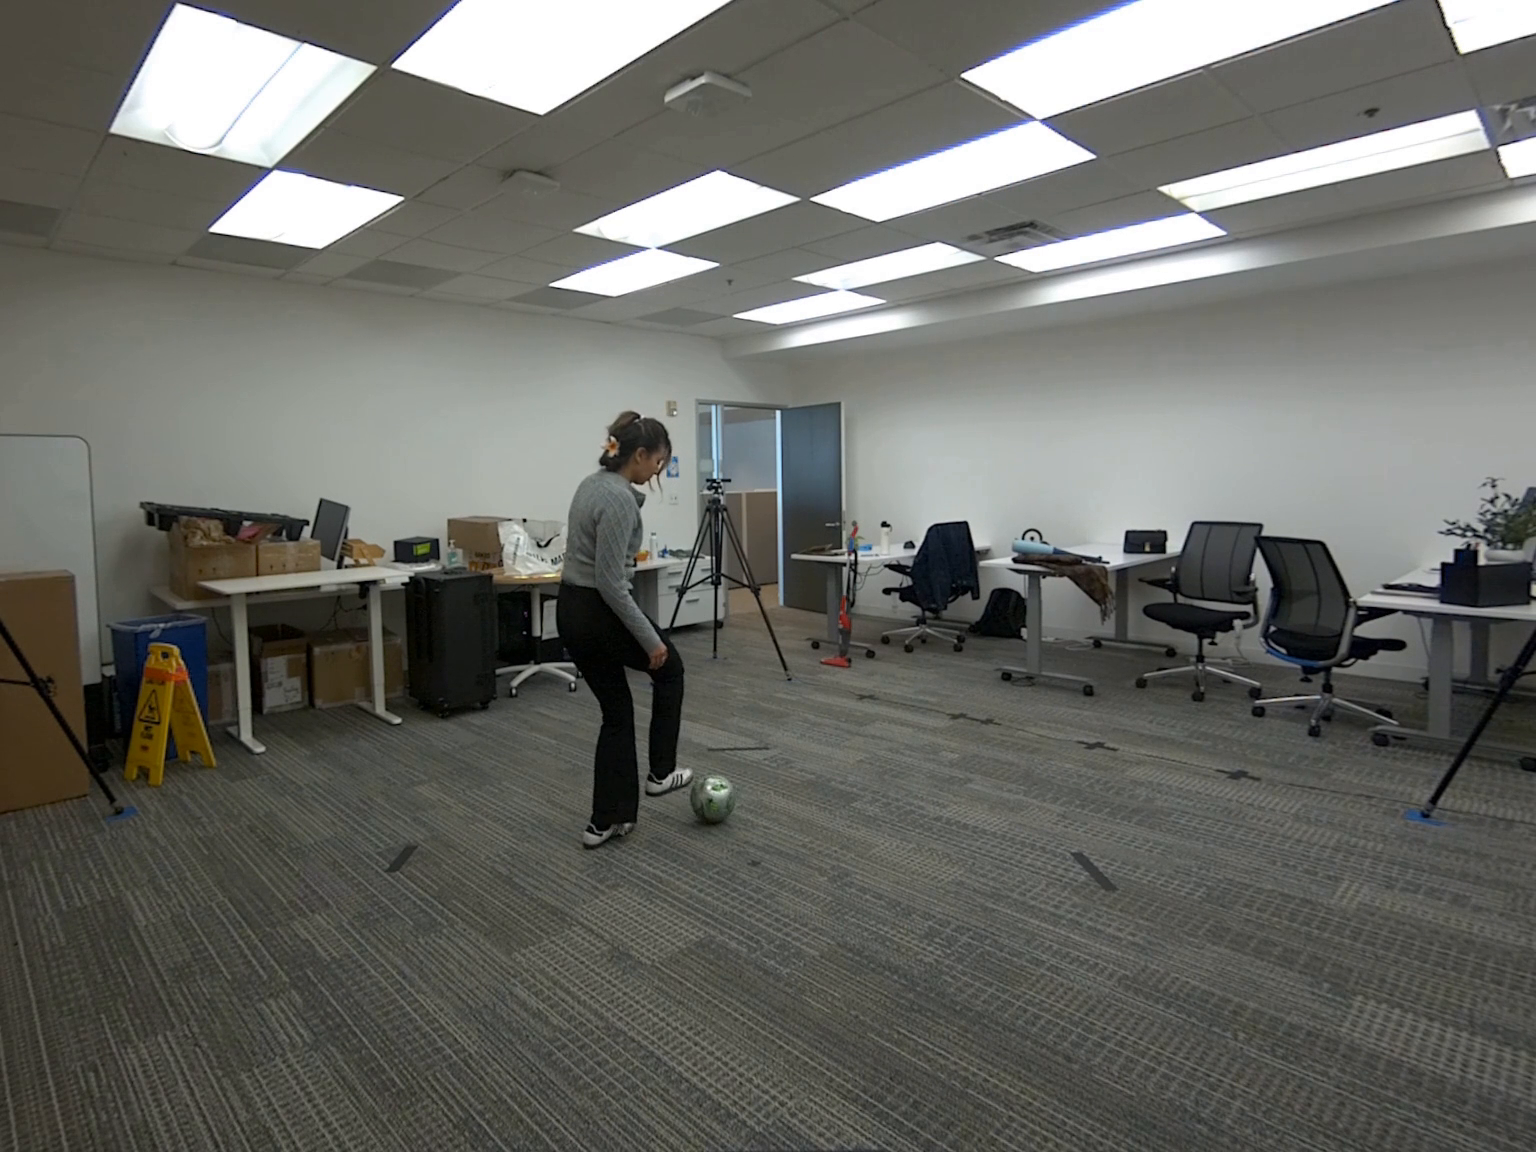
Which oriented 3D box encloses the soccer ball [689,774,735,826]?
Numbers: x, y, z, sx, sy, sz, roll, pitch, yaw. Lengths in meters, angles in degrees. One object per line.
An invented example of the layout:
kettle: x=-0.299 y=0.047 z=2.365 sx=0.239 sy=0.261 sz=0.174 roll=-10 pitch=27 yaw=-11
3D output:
soccer ball: x=-0.211 y=0.905 z=3.481 sx=0.187 sy=0.187 sz=0.188 roll=-1 pitch=5 yaw=-2
